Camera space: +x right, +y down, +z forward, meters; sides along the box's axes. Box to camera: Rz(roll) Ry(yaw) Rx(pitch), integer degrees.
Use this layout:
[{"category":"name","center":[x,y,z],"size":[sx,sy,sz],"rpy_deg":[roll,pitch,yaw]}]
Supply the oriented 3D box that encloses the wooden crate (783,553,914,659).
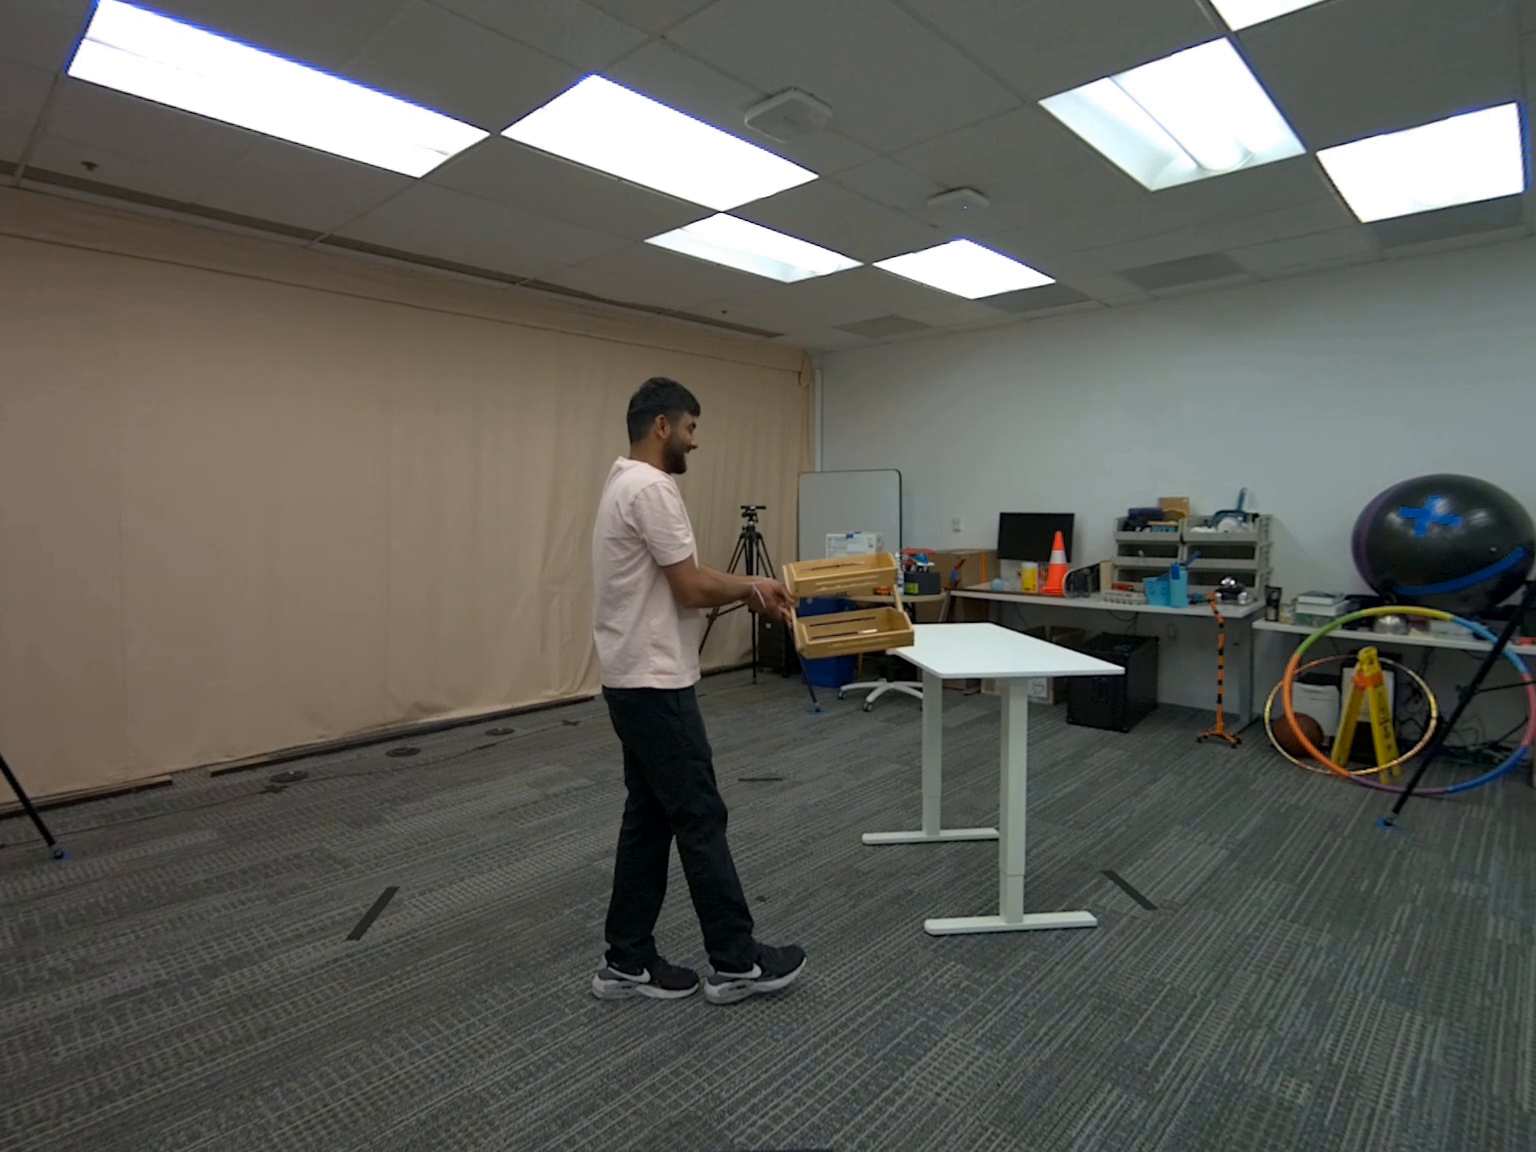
[{"category":"wooden crate","center":[0.234,0.078,2.446],"size":[0.323,0.273,0.303],"rpy_deg":[-7,2,-3]}]
